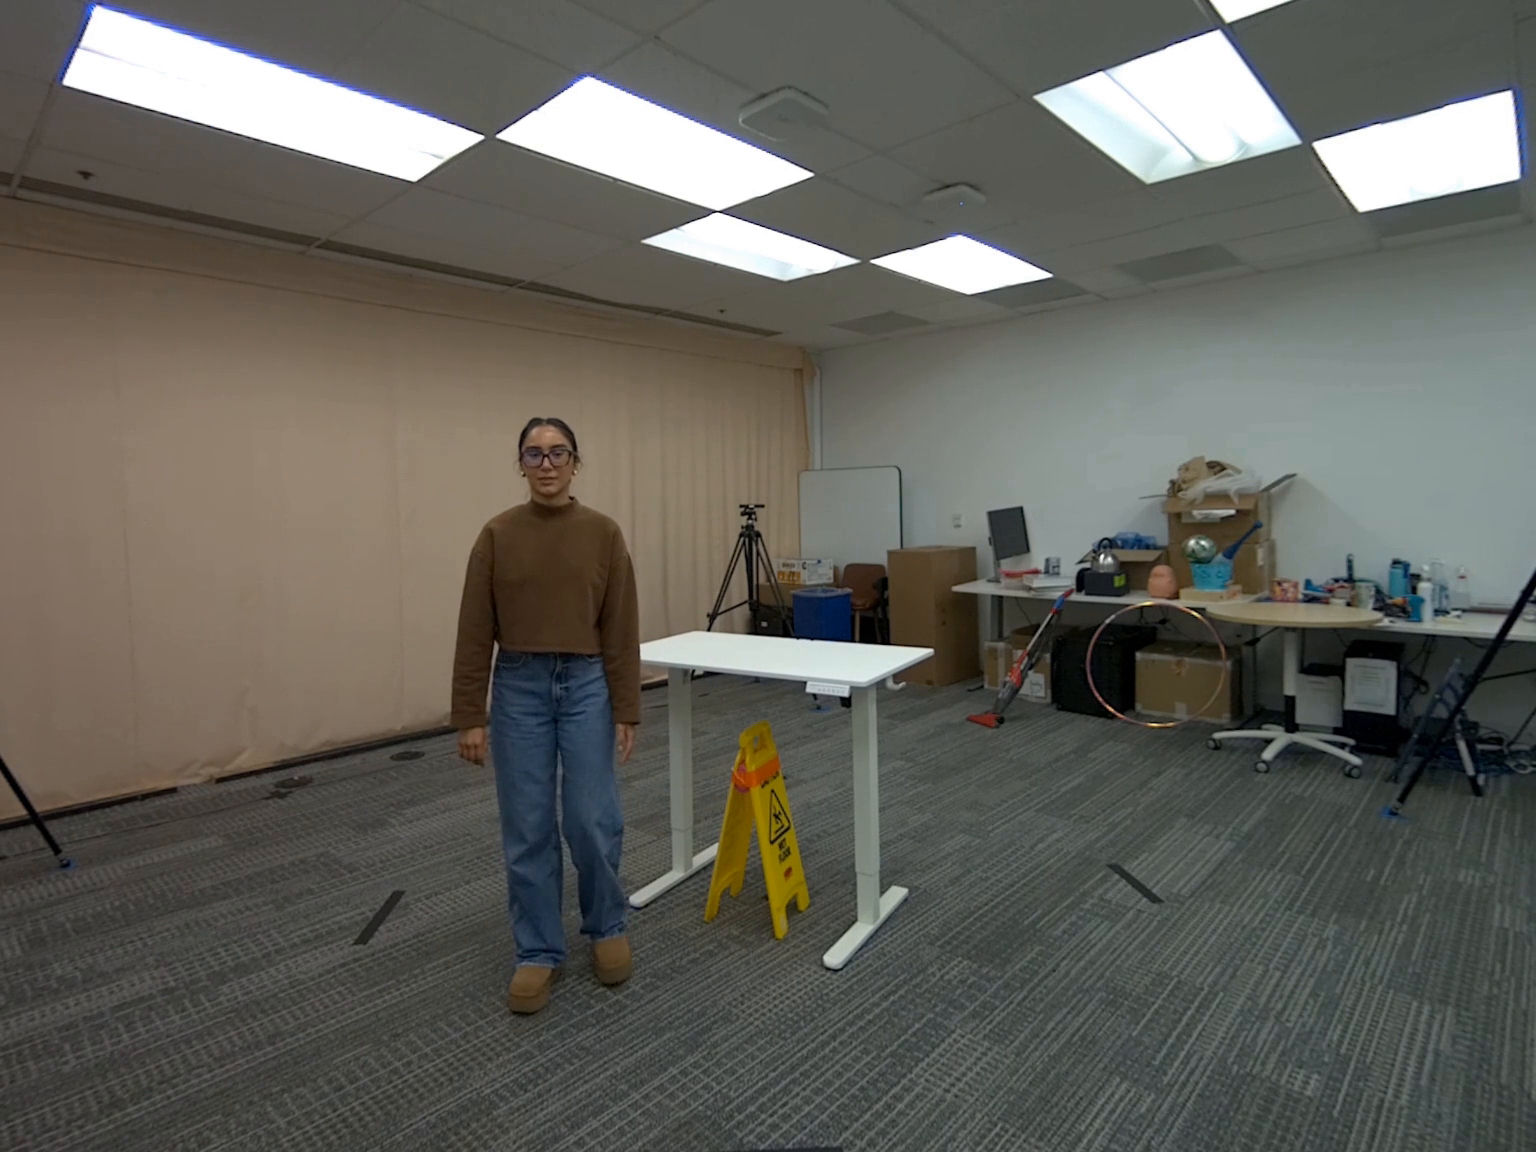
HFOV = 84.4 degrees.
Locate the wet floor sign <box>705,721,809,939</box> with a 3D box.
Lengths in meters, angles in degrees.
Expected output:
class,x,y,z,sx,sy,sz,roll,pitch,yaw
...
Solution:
class,x,y,z,sx,sy,sz,roll,pitch,yaw
wet floor sign,-0.034,0.828,2.852,0.297,0.644,0.276,2,5,25
